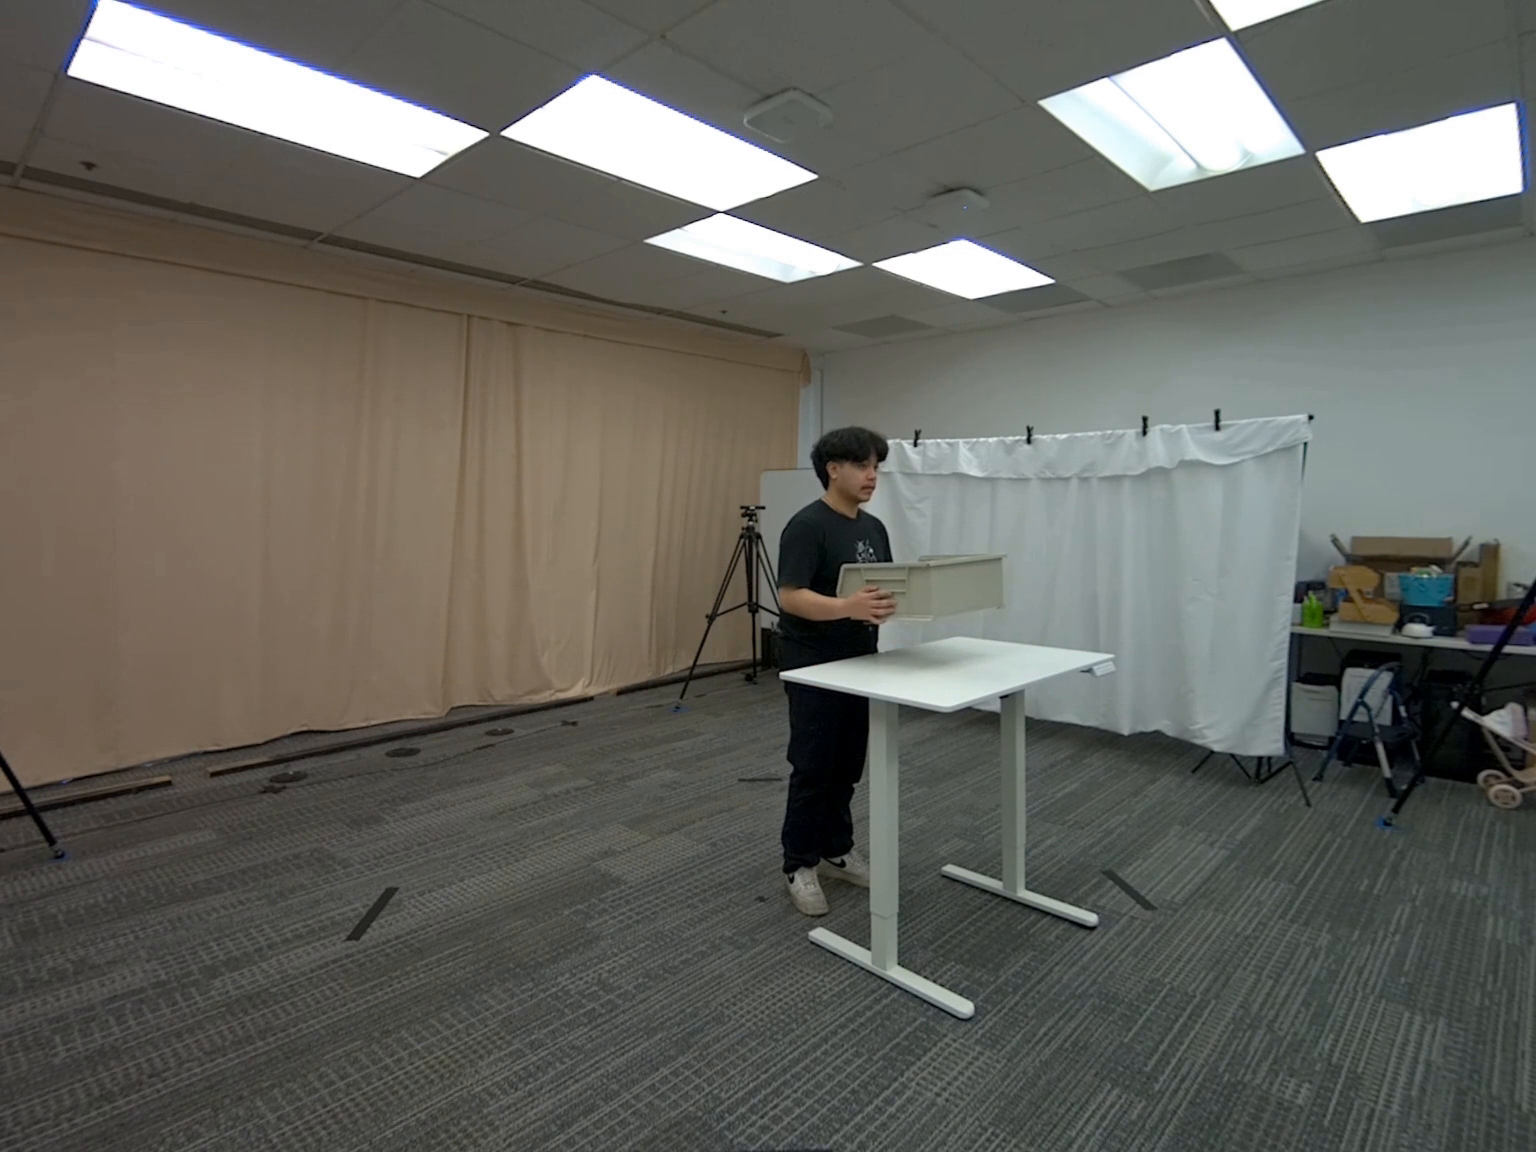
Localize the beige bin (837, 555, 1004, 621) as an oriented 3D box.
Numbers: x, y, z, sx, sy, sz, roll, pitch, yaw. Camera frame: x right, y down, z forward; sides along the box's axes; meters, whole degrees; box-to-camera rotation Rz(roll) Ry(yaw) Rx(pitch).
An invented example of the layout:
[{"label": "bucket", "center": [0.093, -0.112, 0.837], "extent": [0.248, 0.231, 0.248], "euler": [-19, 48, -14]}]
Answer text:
[{"label": "beige bin", "center": [0.502, 0.039, 2.762], "extent": [0.410, 0.189, 0.389], "euler": [-5, 4, -41]}]
